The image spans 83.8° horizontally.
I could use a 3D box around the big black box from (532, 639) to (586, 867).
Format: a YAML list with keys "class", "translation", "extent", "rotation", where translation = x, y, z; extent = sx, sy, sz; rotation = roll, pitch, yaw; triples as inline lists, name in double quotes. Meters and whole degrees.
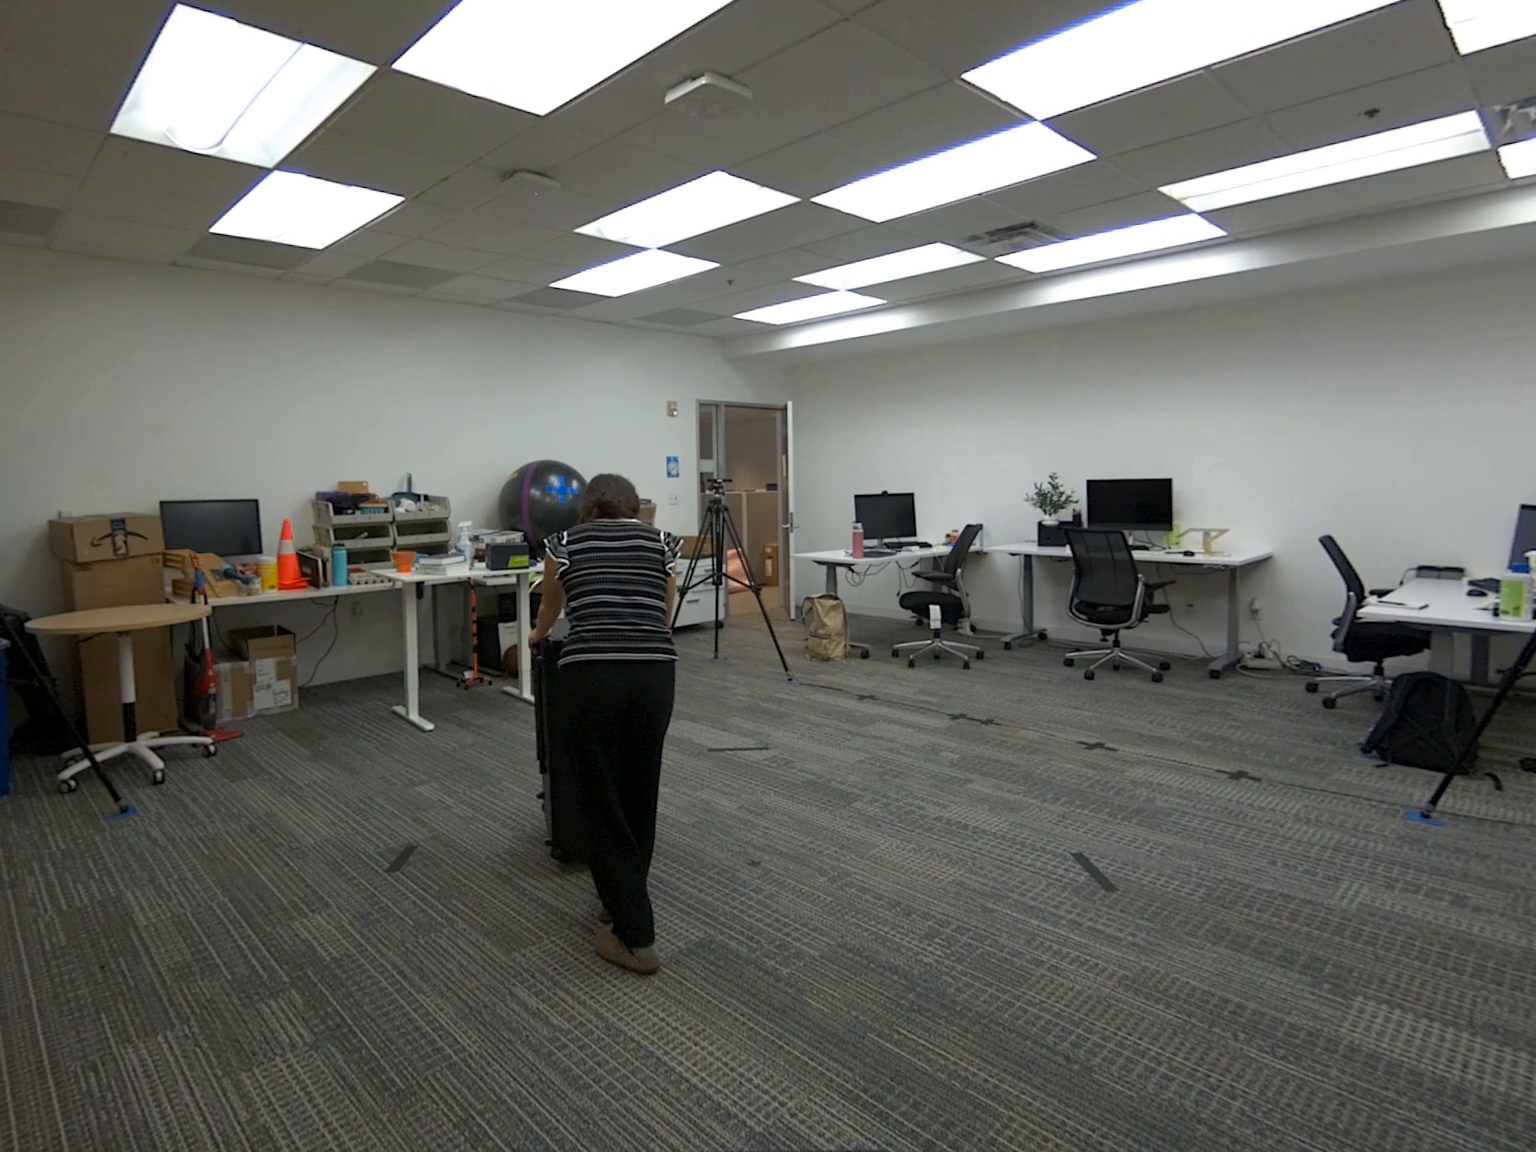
- class: "big black box"
  translation: [-0.682, 0.620, 3.254]
  extent: [0.390, 0.859, 0.531]
  rotation: [-4, 4, -18]
